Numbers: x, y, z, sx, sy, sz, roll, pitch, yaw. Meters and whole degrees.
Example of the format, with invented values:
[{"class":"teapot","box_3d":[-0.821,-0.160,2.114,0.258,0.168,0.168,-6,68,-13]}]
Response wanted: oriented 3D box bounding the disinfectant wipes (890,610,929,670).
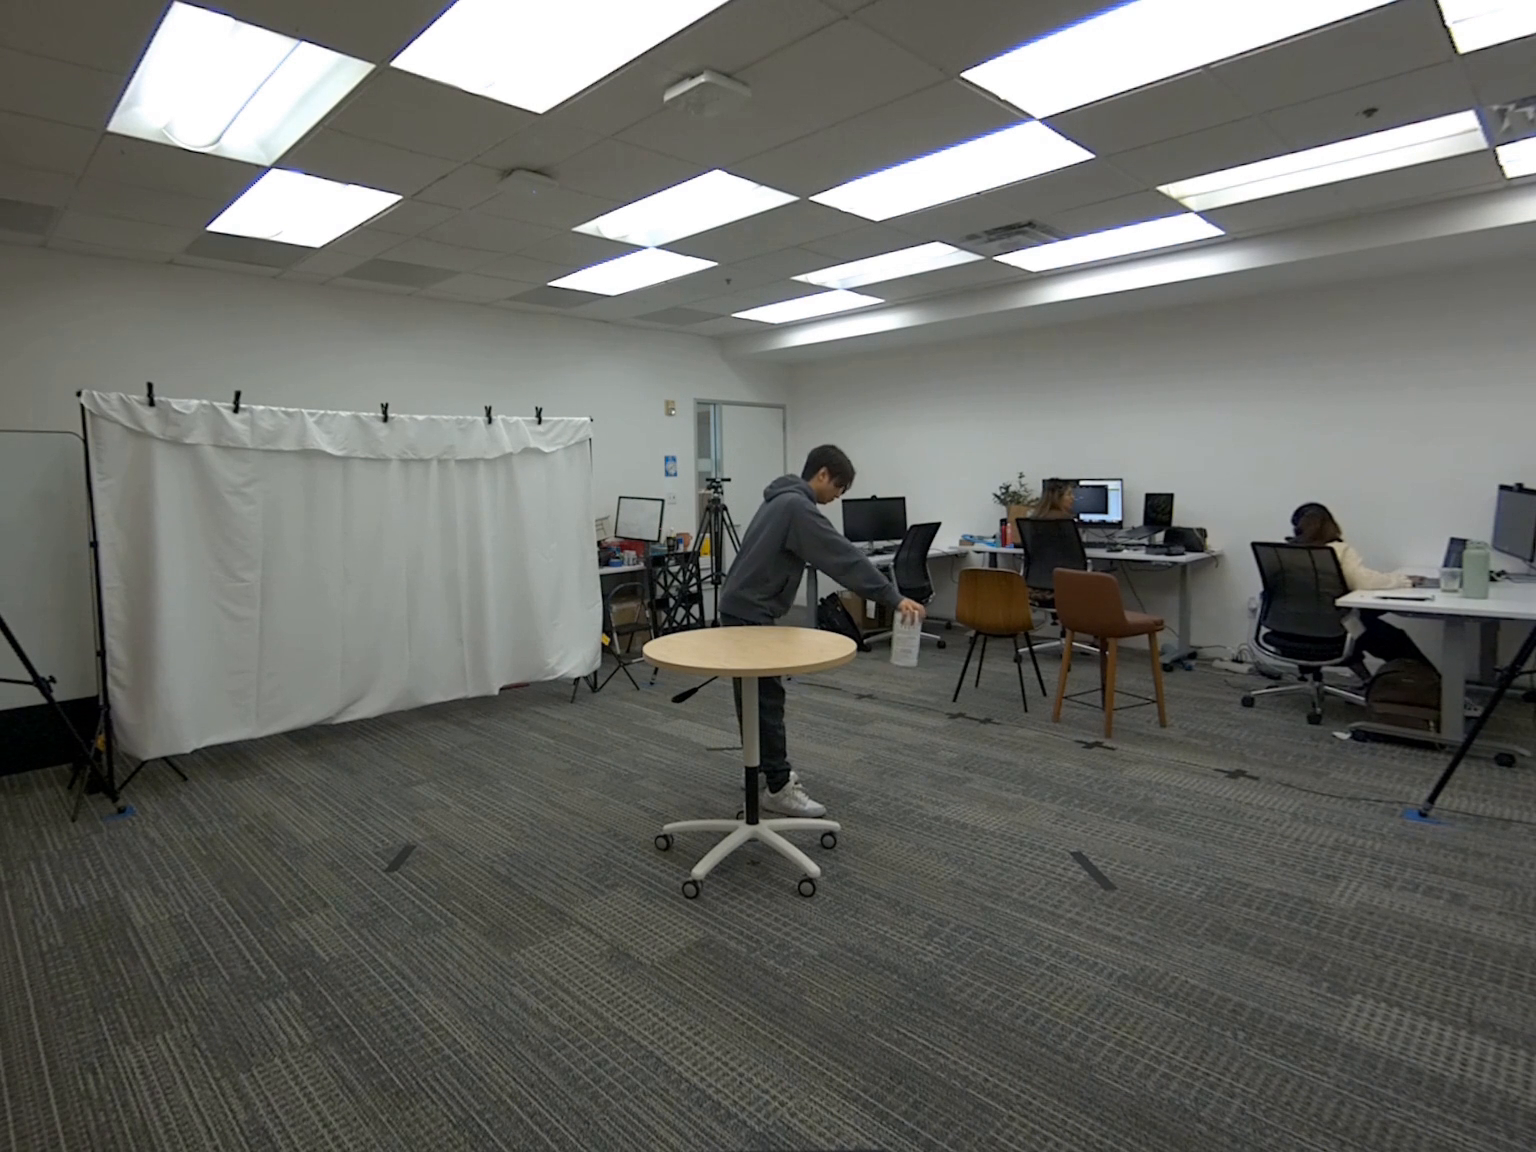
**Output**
[{"class":"disinfectant wipes","box_3d":[0.558,0.245,3.394,0.118,0.216,0.118,1,5,-2]}]
